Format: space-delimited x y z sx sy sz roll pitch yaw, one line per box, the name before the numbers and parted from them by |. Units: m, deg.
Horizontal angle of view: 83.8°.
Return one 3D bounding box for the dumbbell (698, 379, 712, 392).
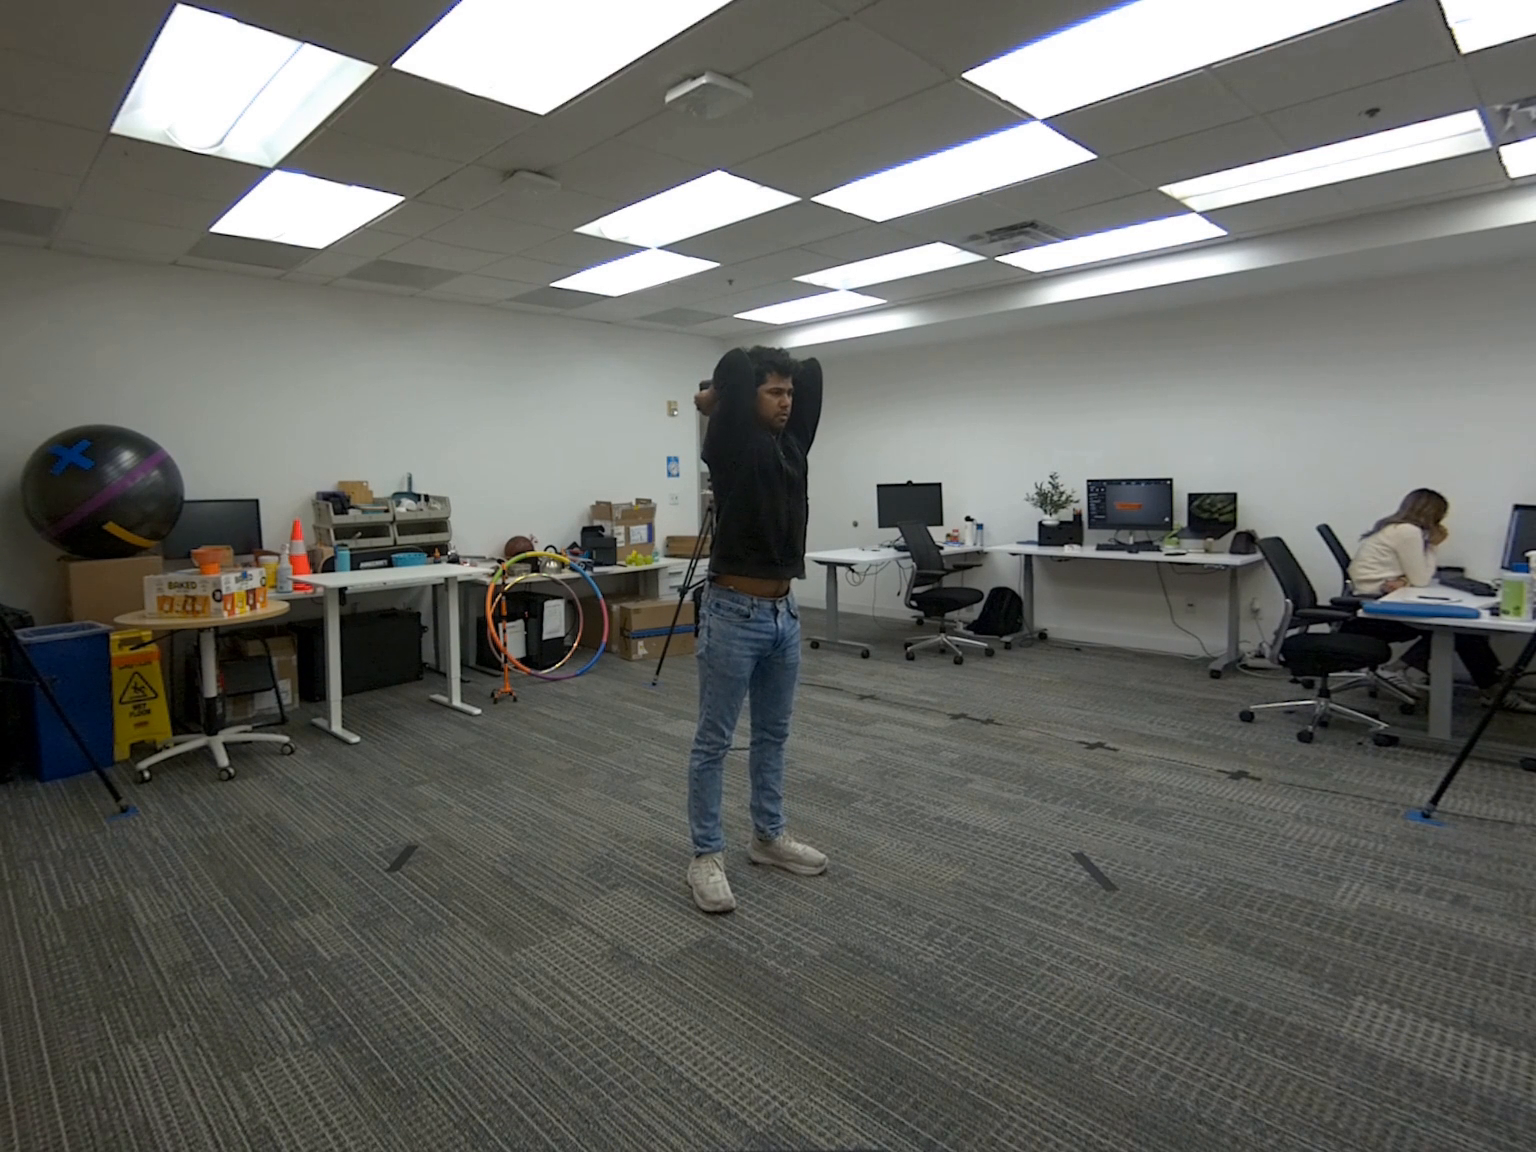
dumbbell | -0.158 -0.564 3.021 0.120 0.291 0.112 -11 11 -34
